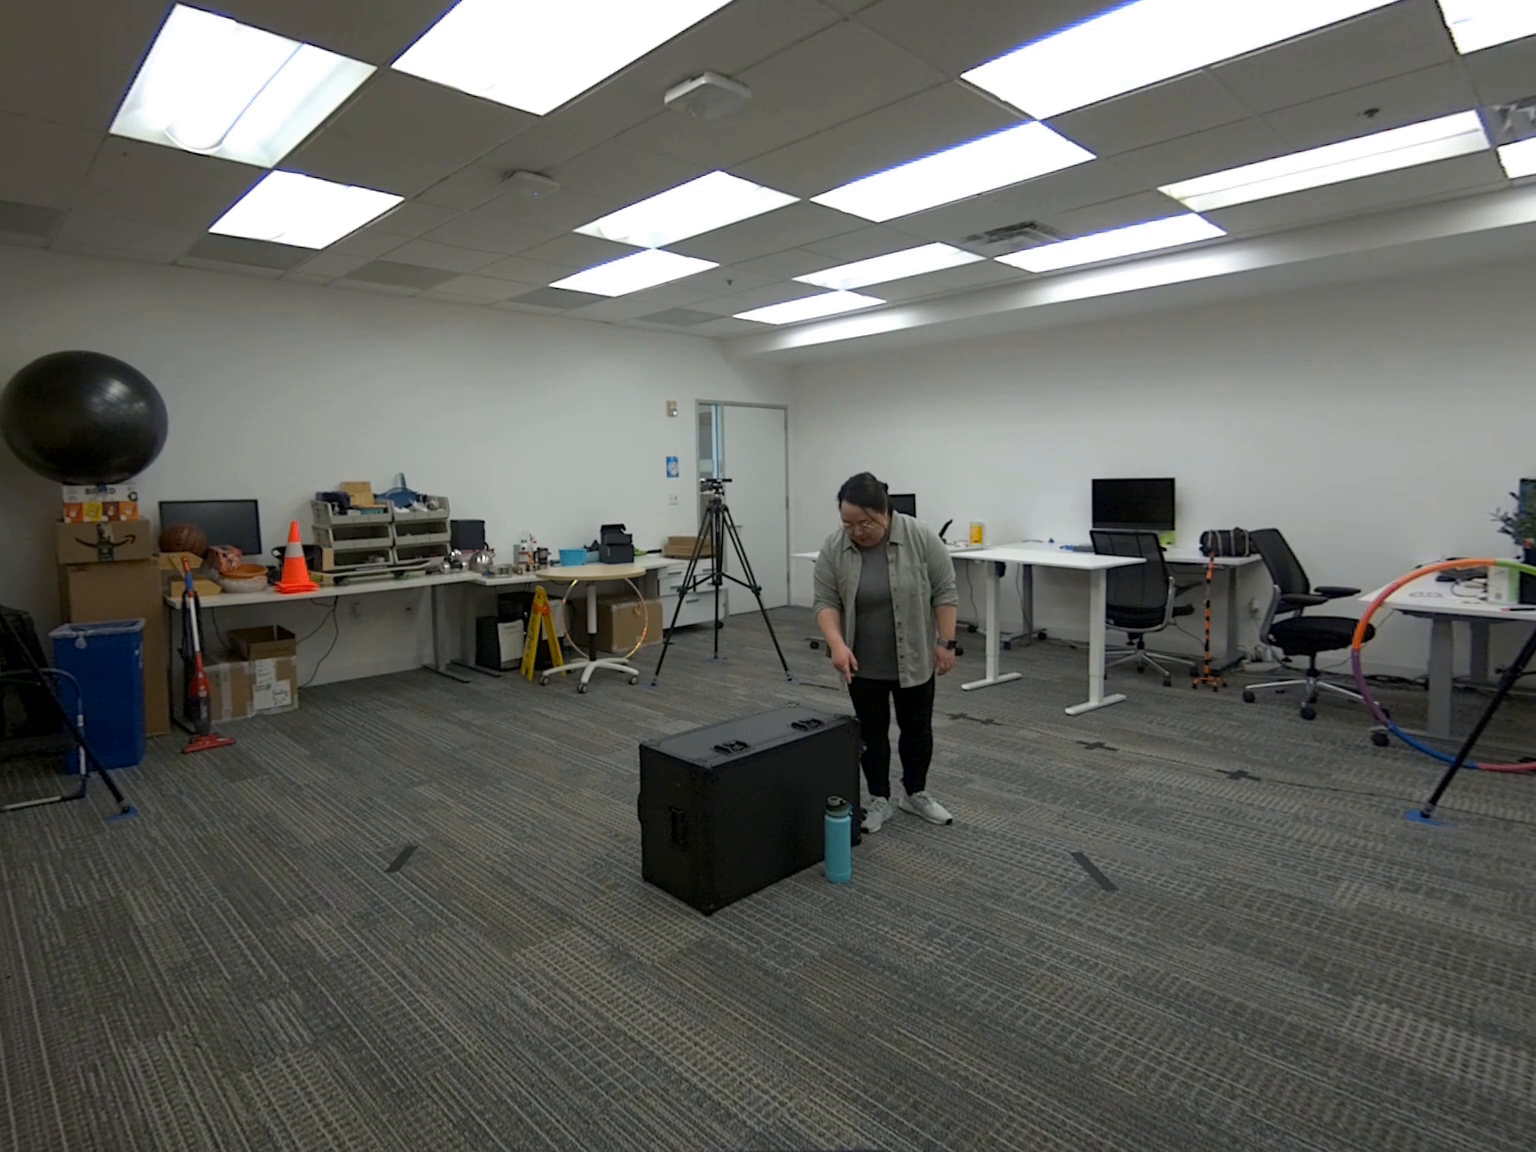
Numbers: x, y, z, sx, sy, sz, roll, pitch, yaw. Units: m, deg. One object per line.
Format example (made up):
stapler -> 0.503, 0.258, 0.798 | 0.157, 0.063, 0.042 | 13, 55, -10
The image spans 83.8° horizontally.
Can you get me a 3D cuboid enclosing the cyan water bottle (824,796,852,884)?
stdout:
cyan water bottle -> 0.232, 0.911, 2.976 | 0.092, 0.282, 0.093 | 1, 4, -2
